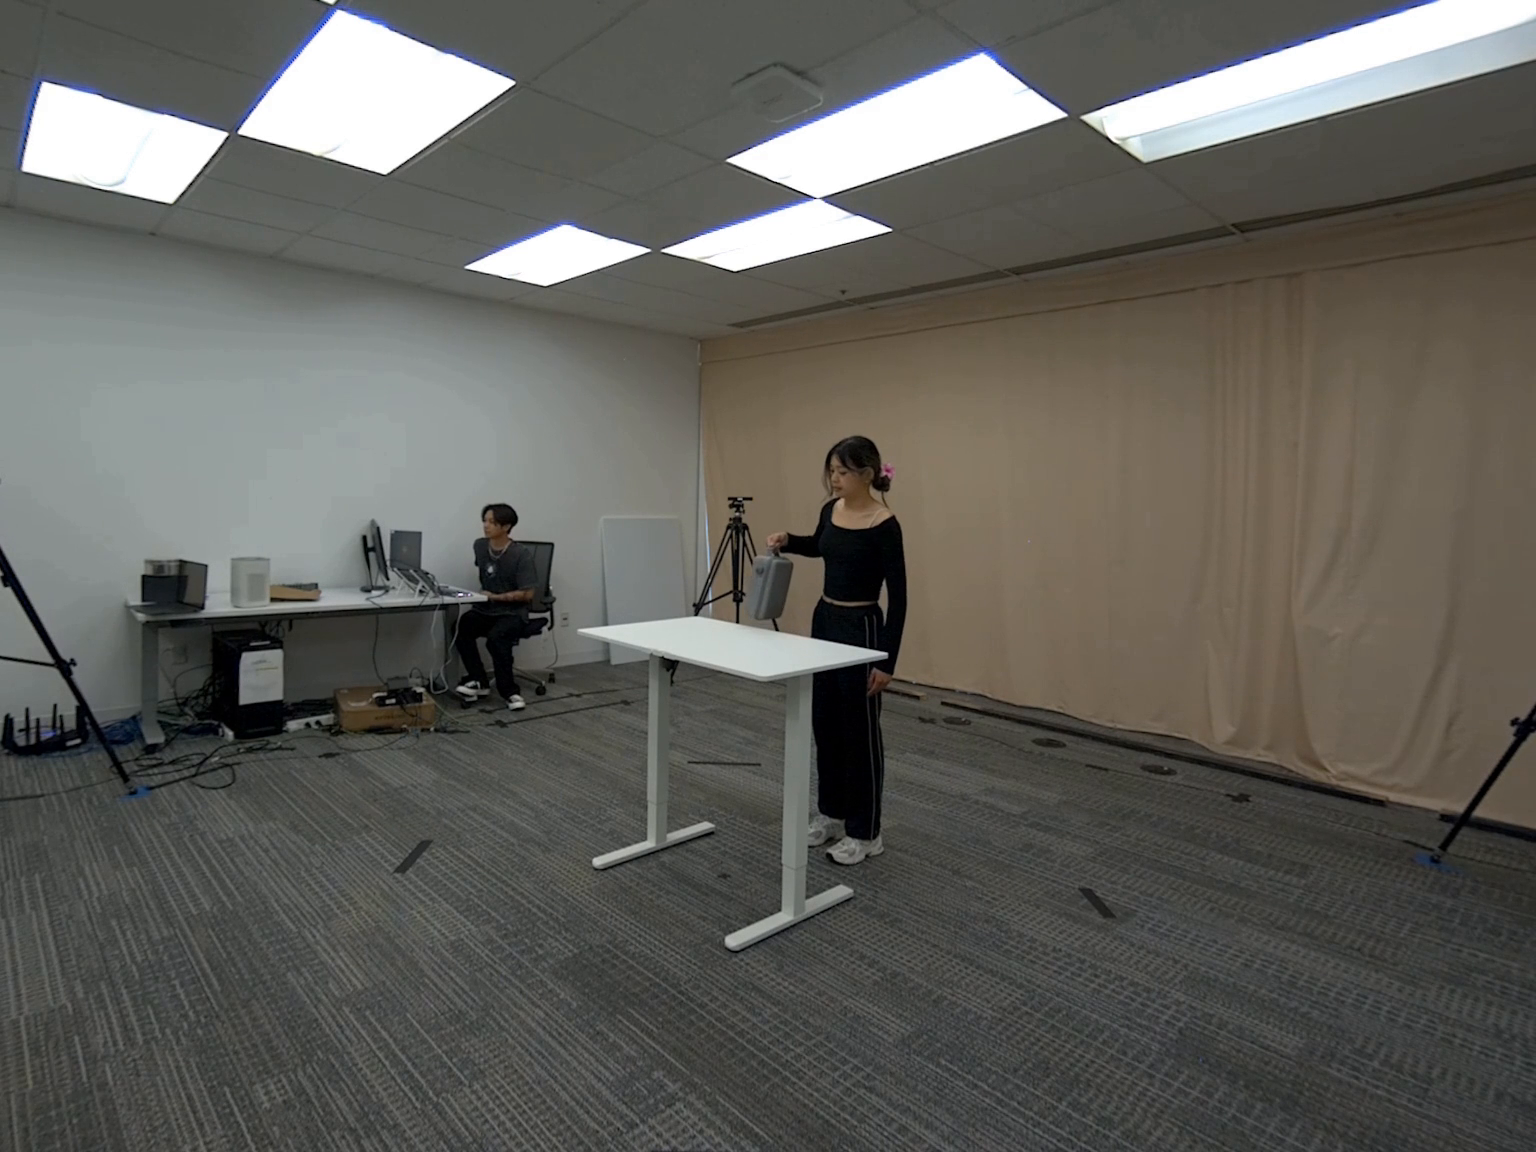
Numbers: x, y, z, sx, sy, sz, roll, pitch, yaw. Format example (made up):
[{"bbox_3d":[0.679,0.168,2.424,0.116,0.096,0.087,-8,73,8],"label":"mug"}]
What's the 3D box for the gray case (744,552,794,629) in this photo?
[{"bbox_3d":[-0.002,0.047,3.414,0.106,0.260,0.252,12,2,19],"label":"gray case"}]
